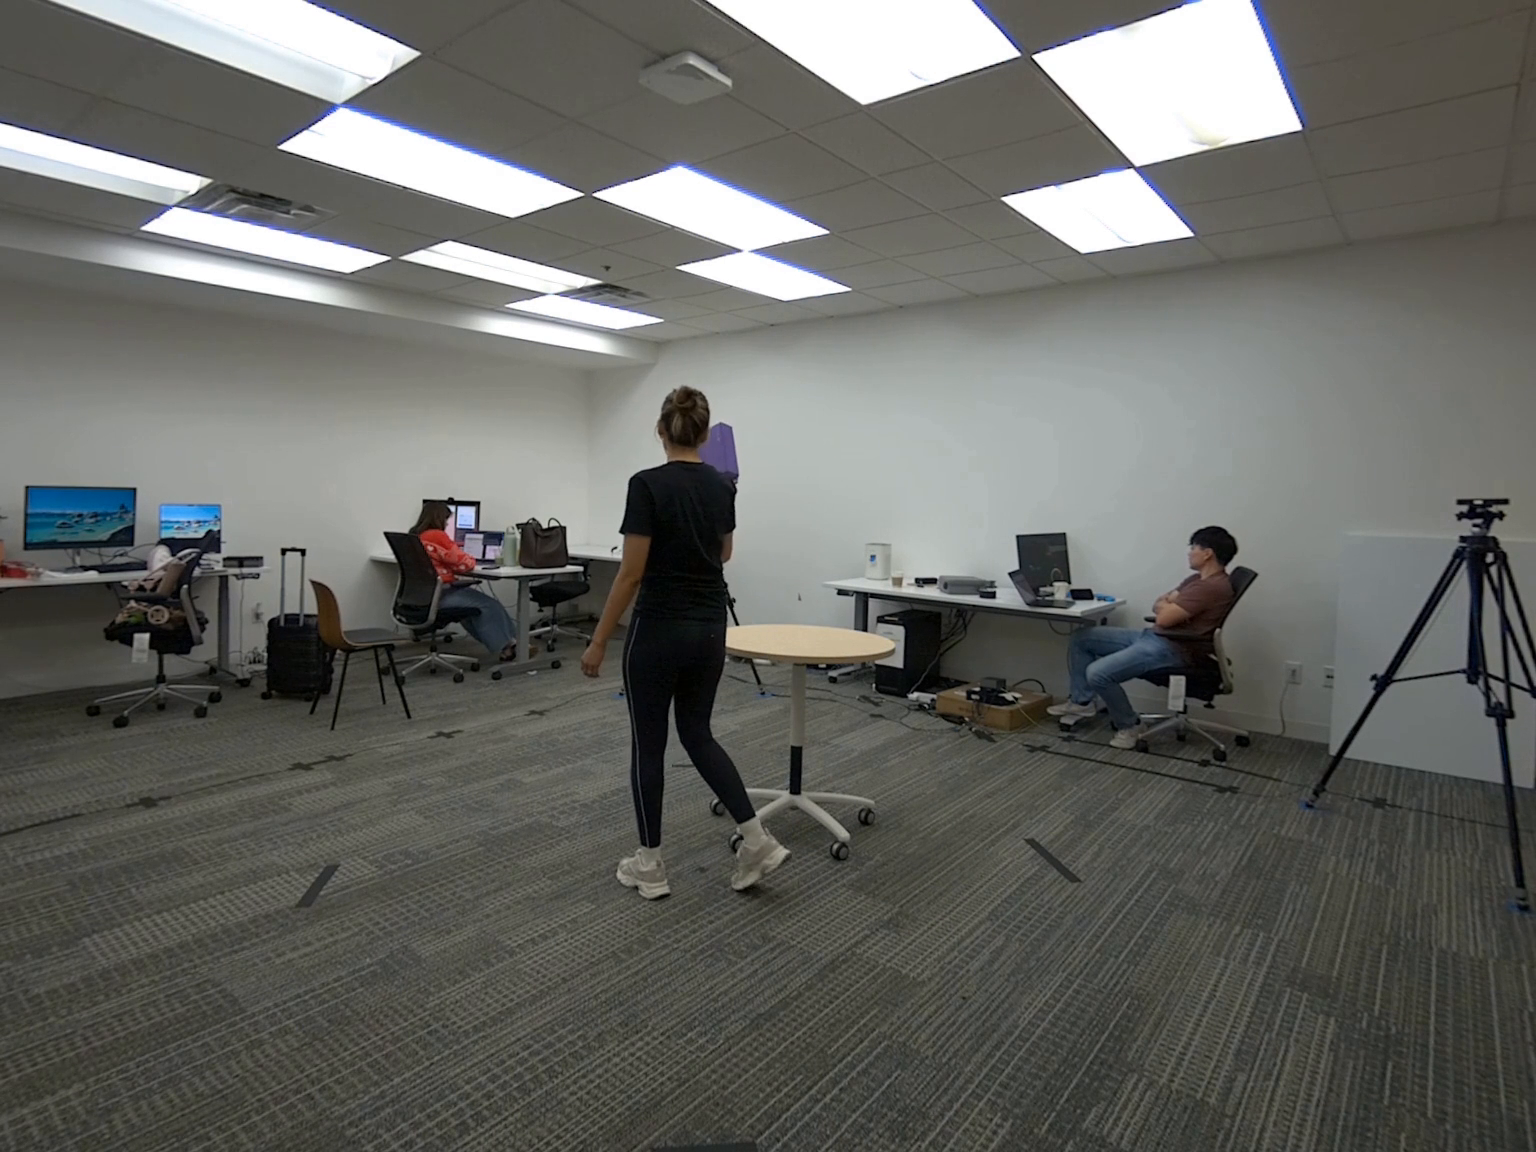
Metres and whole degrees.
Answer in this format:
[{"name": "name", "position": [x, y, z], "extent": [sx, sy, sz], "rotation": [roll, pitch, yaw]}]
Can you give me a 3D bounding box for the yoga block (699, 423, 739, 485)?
[{"name": "yoga block", "position": [-0.204, -0.482, 3.380], "extent": [0.151, 0.234, 0.073], "rotation": [-22, -26, 33]}]
